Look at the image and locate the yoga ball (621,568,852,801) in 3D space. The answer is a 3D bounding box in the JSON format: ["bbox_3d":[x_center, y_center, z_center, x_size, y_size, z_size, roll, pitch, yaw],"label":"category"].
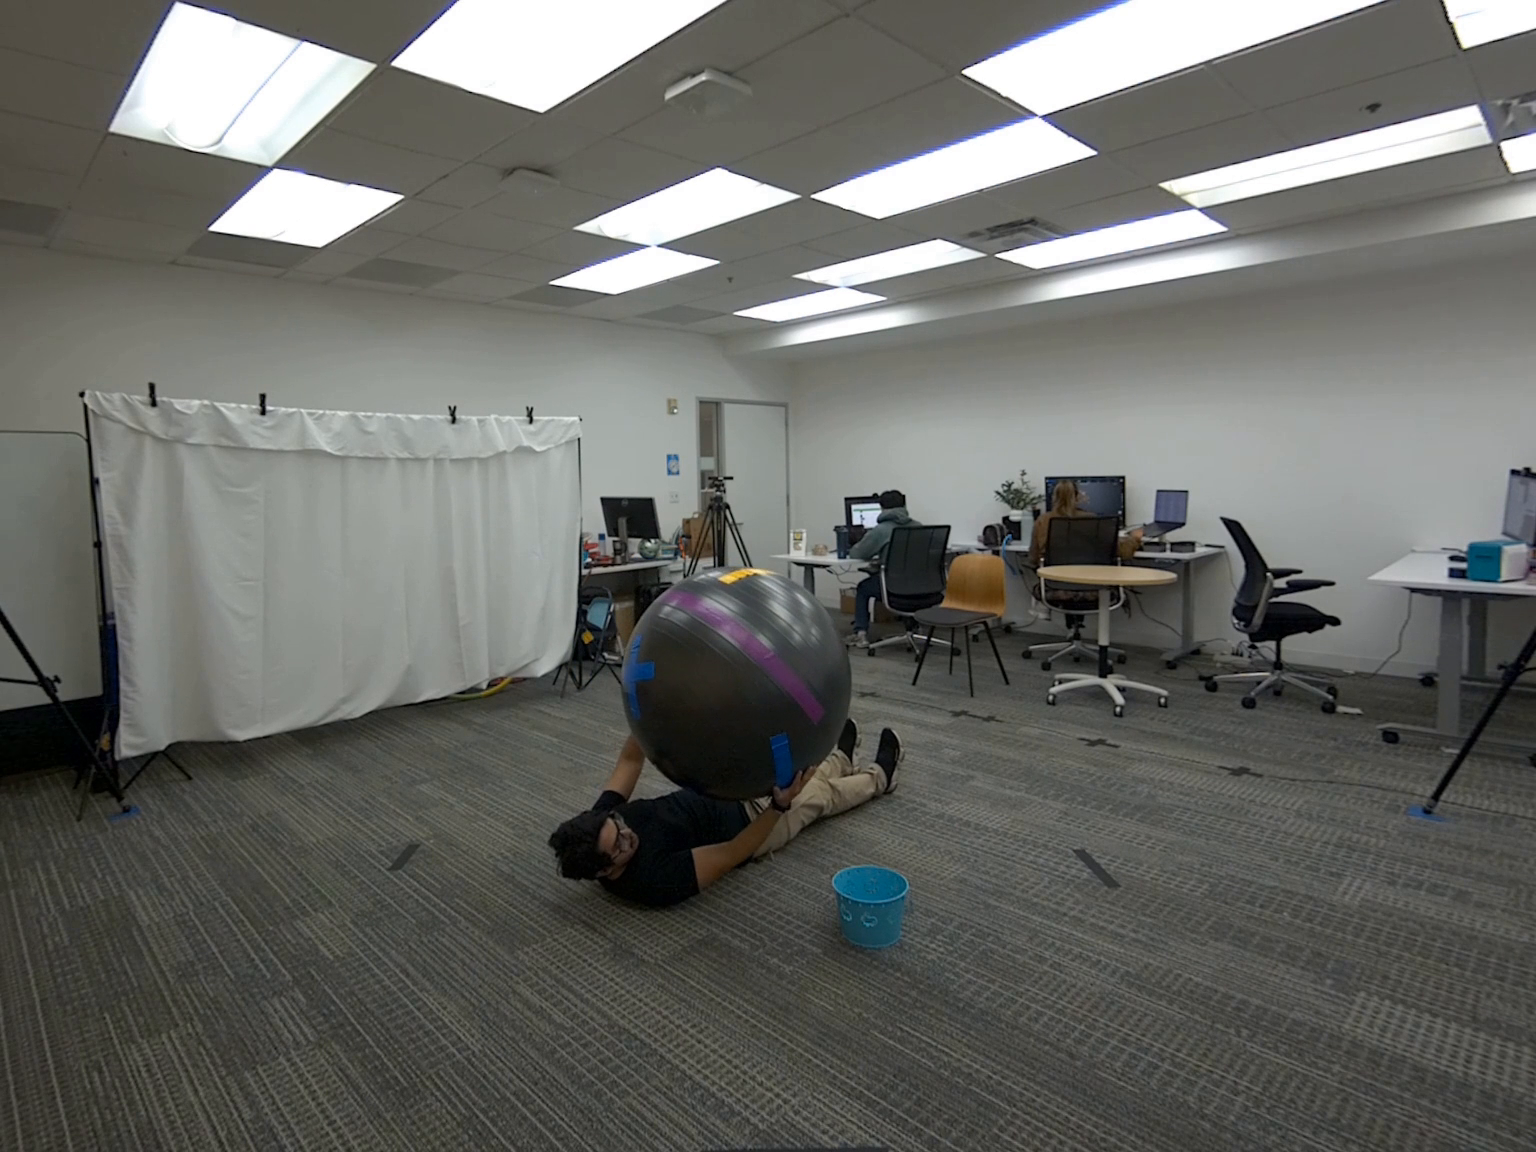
[{"bbox_3d":[-0.102,0.350,2.820,0.757,0.755,0.761,-1,4,-2],"label":"yoga ball"}]
